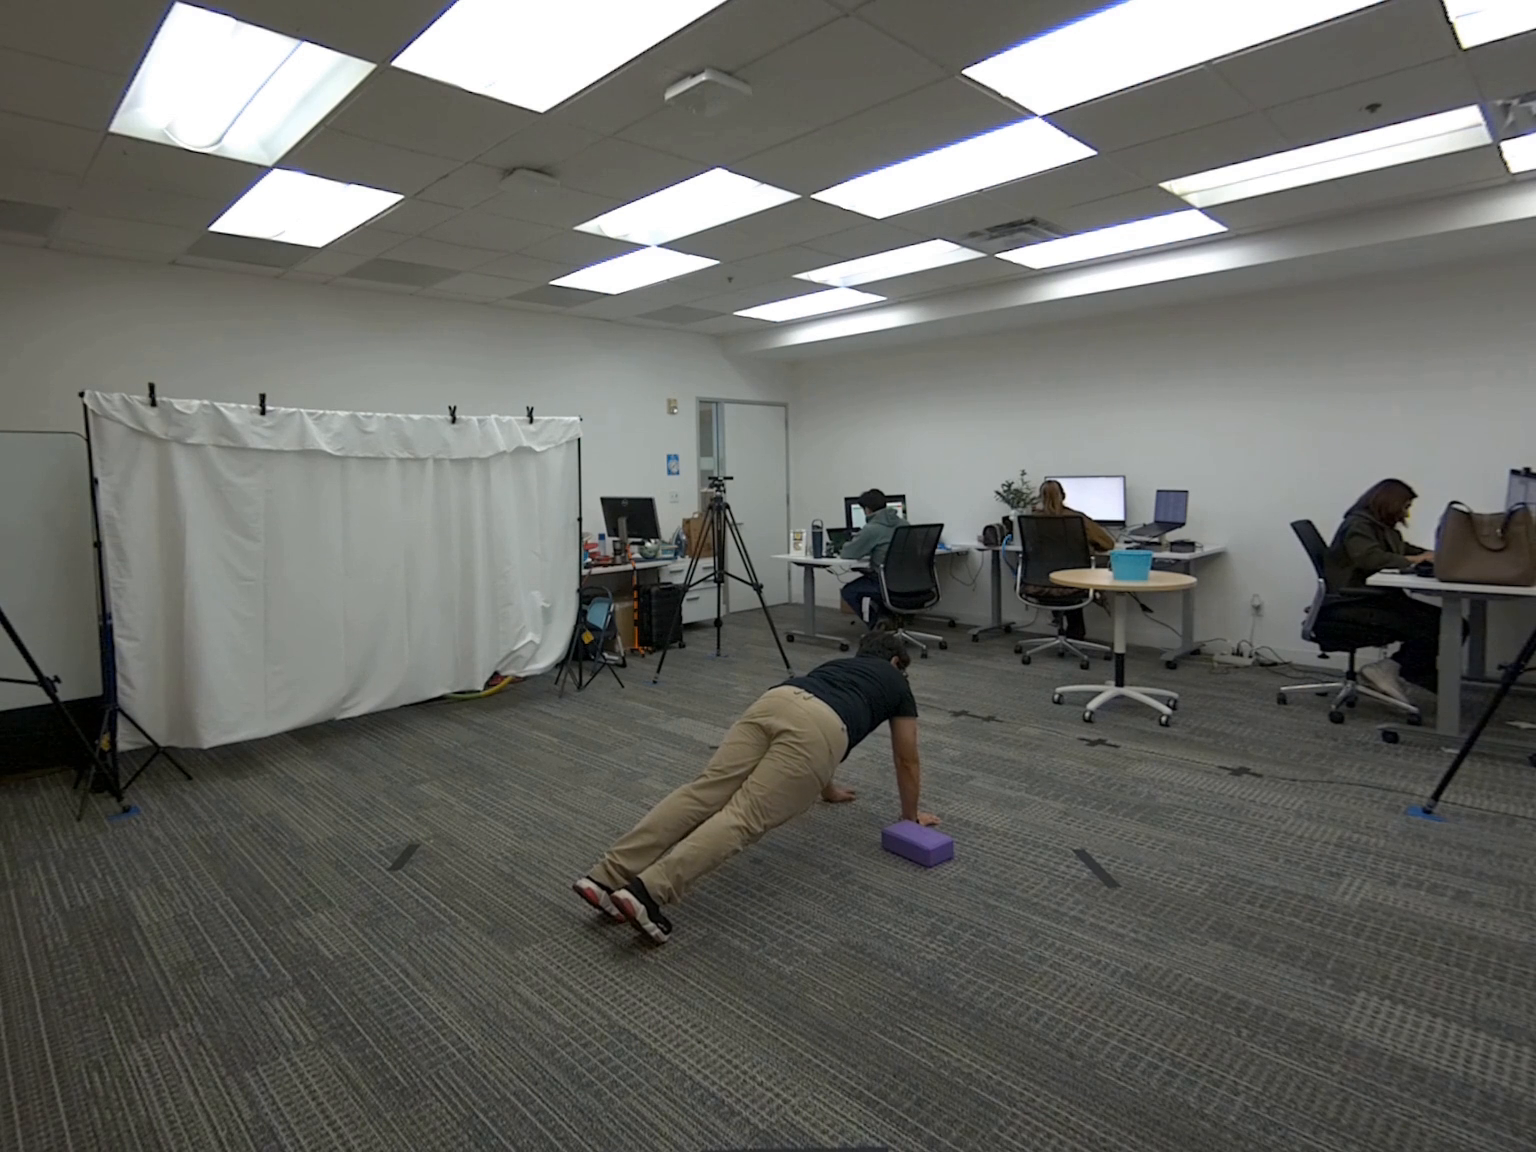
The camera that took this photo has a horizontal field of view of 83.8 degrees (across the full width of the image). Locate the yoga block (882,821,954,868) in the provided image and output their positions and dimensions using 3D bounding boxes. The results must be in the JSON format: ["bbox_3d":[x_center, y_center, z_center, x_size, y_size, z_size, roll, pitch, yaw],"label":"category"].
[{"bbox_3d":[0.551,0.978,3.142,0.145,0.076,0.236,-6,7,-38],"label":"yoga block"}]
